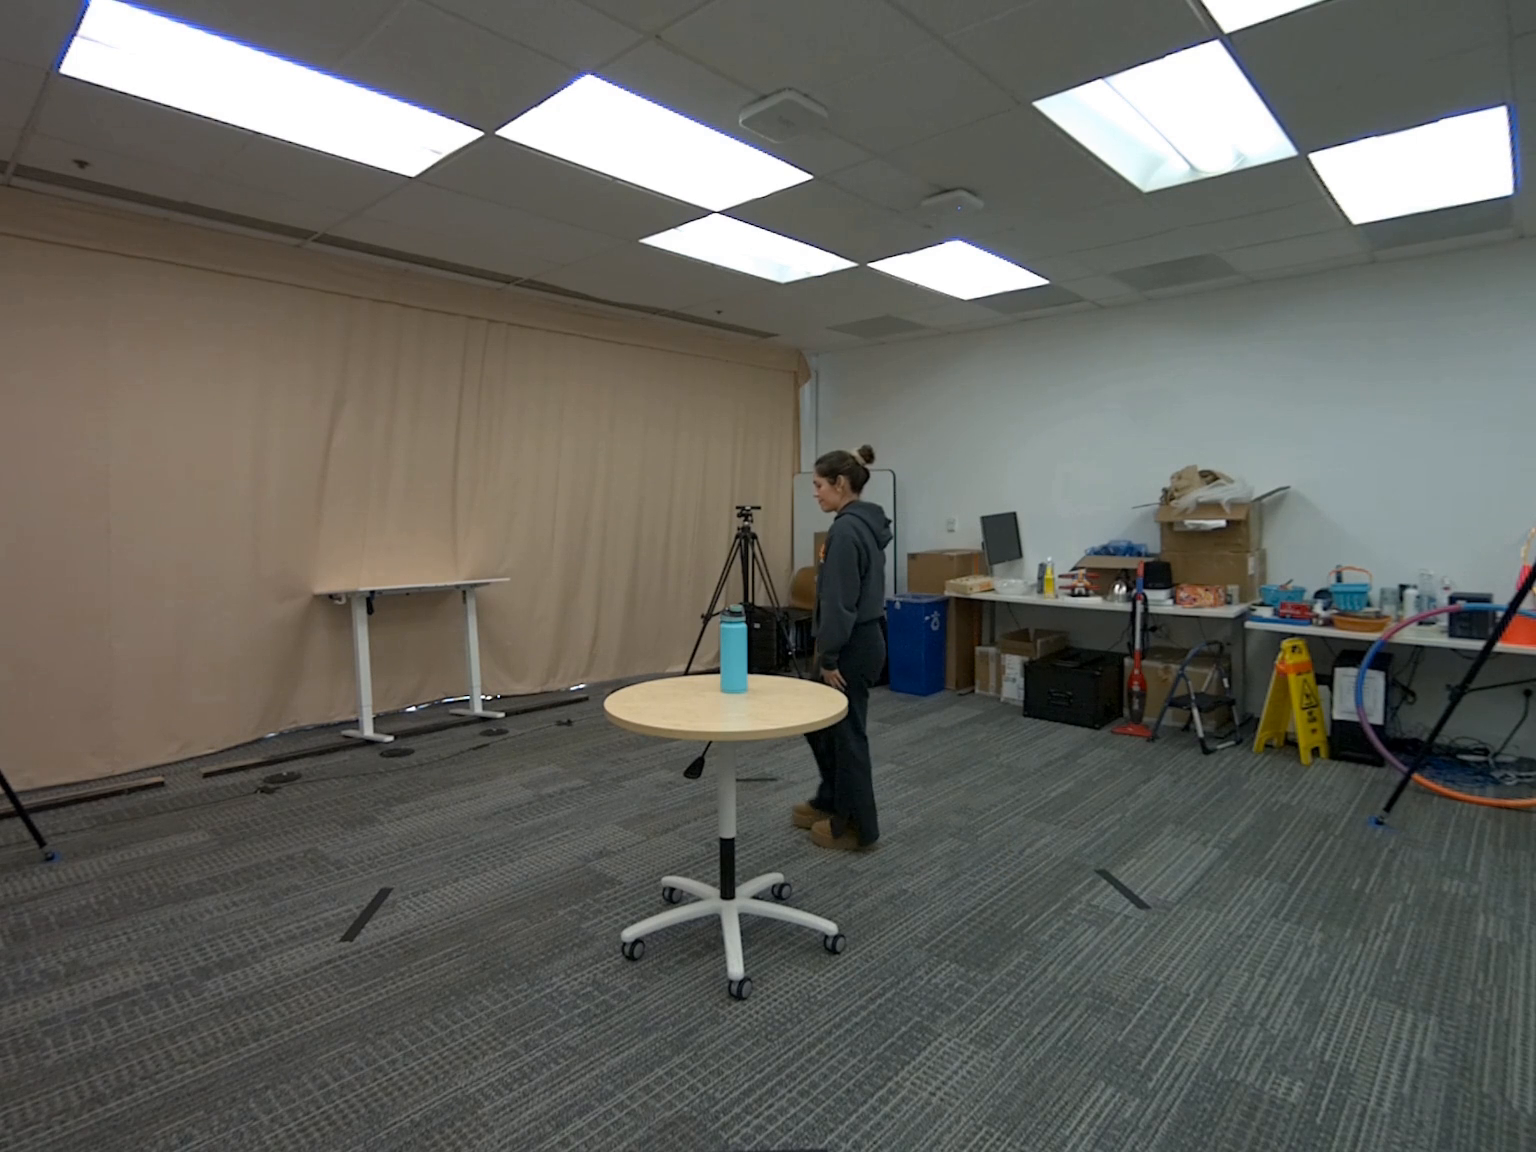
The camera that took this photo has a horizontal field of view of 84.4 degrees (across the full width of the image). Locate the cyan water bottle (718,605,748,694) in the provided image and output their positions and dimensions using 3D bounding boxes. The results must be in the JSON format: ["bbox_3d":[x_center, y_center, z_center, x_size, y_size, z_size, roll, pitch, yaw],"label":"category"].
[{"bbox_3d":[-0.100,0.240,2.775,0.092,0.283,0.092,-1,1,-2],"label":"cyan water bottle"}]
